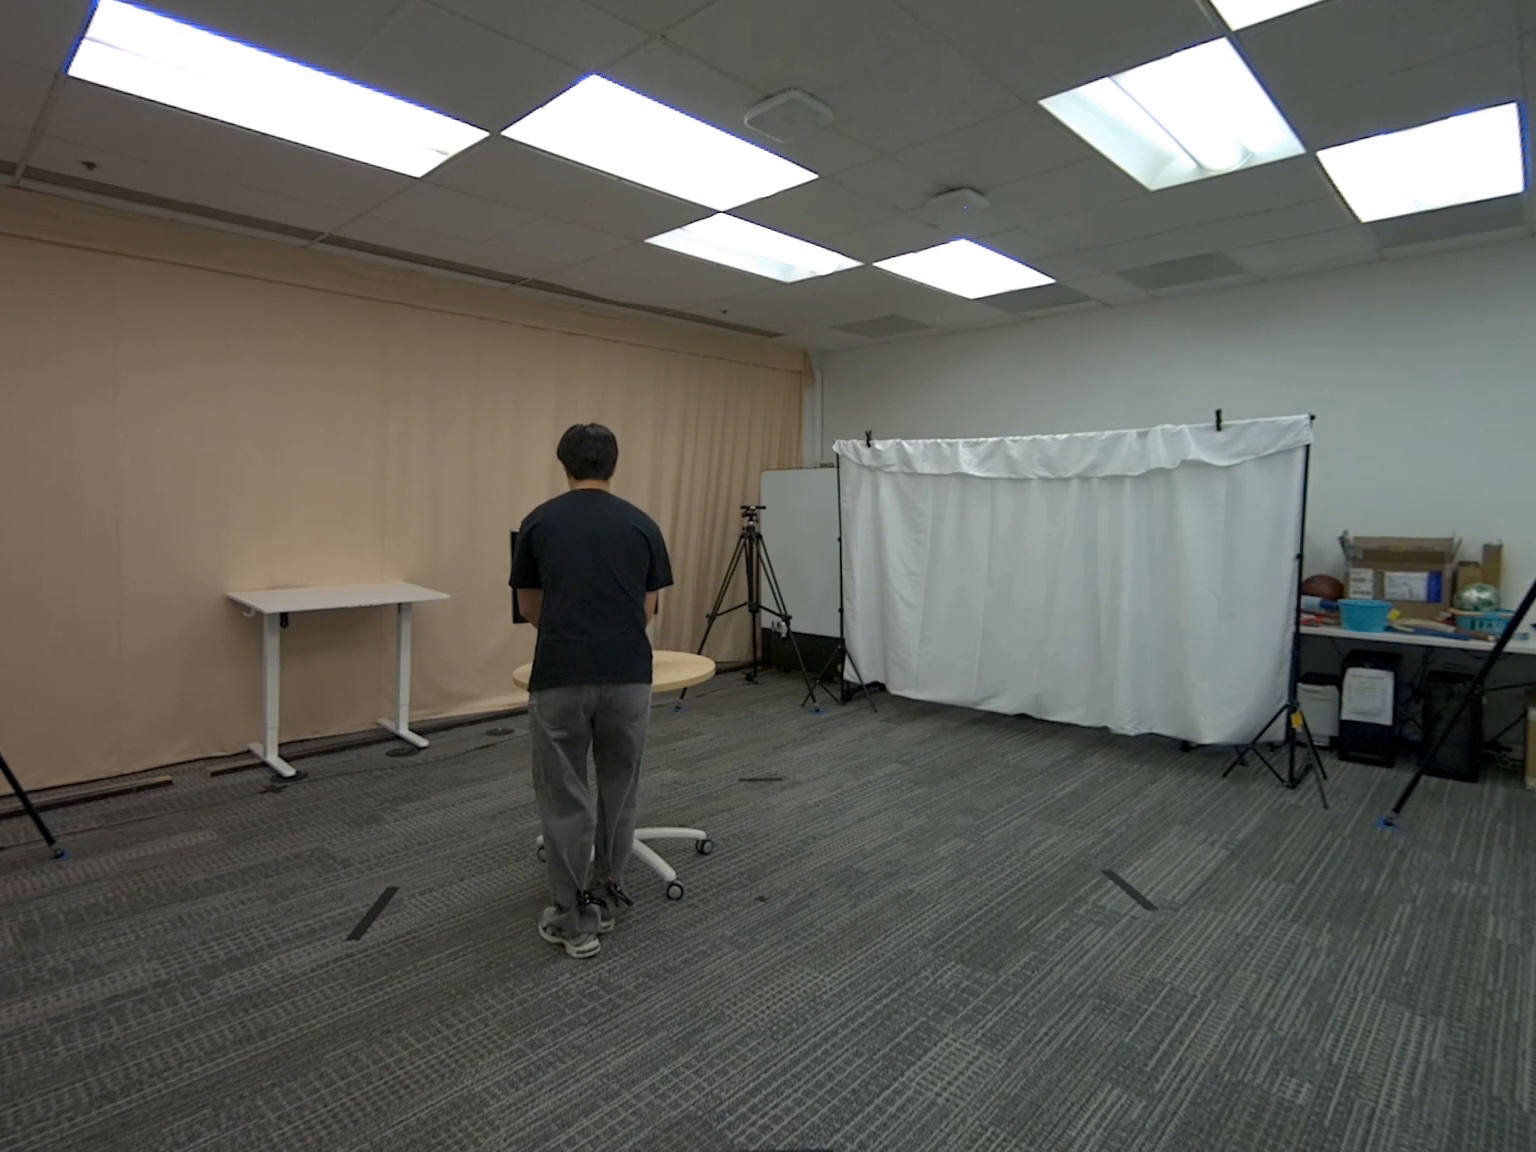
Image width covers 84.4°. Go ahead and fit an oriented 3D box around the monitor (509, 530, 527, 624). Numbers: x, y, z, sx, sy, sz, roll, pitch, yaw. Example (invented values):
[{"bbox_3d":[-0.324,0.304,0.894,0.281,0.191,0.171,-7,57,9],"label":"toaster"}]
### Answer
[{"bbox_3d":[-0.676,0.092,3.151,0.554,0.566,0.225,-2,1,-14],"label":"monitor"}]
